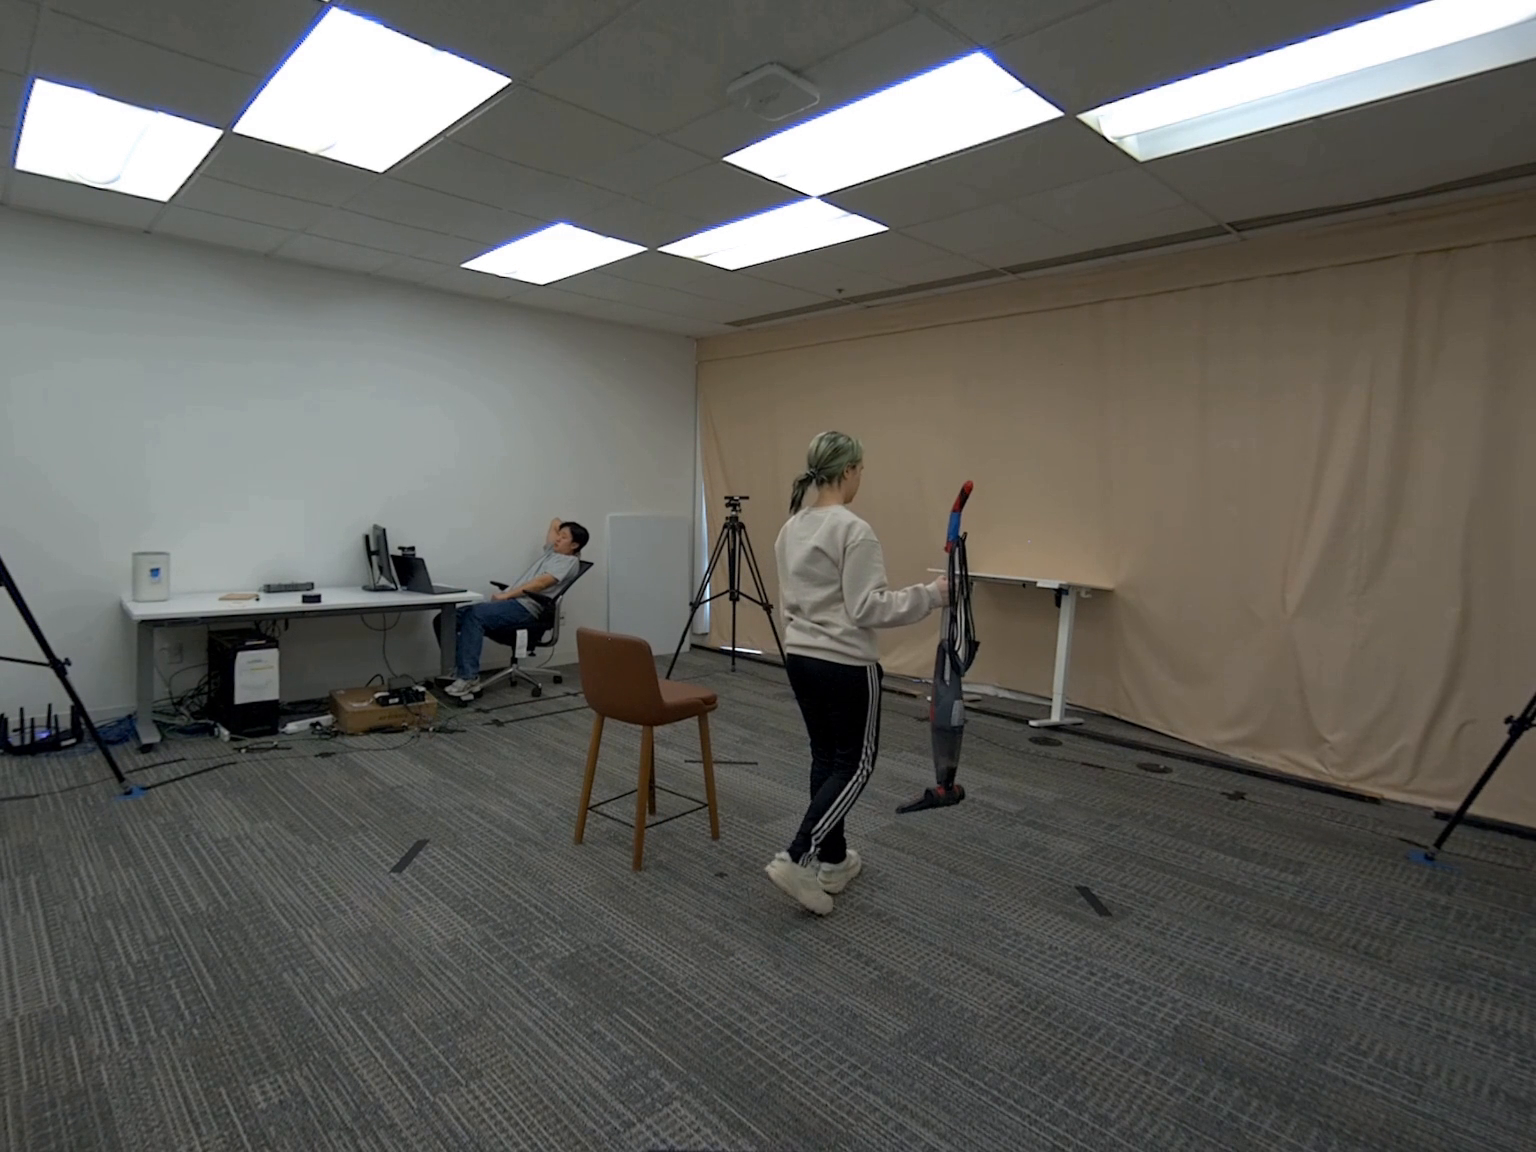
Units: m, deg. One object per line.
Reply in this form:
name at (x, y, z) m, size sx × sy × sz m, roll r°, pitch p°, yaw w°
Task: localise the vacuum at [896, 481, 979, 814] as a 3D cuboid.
vacuum at (0.596, 0.225, 2.722) m, size 0.247 × 1.045 × 0.147 m, roll 2°, pitch 6°, yaw -30°
